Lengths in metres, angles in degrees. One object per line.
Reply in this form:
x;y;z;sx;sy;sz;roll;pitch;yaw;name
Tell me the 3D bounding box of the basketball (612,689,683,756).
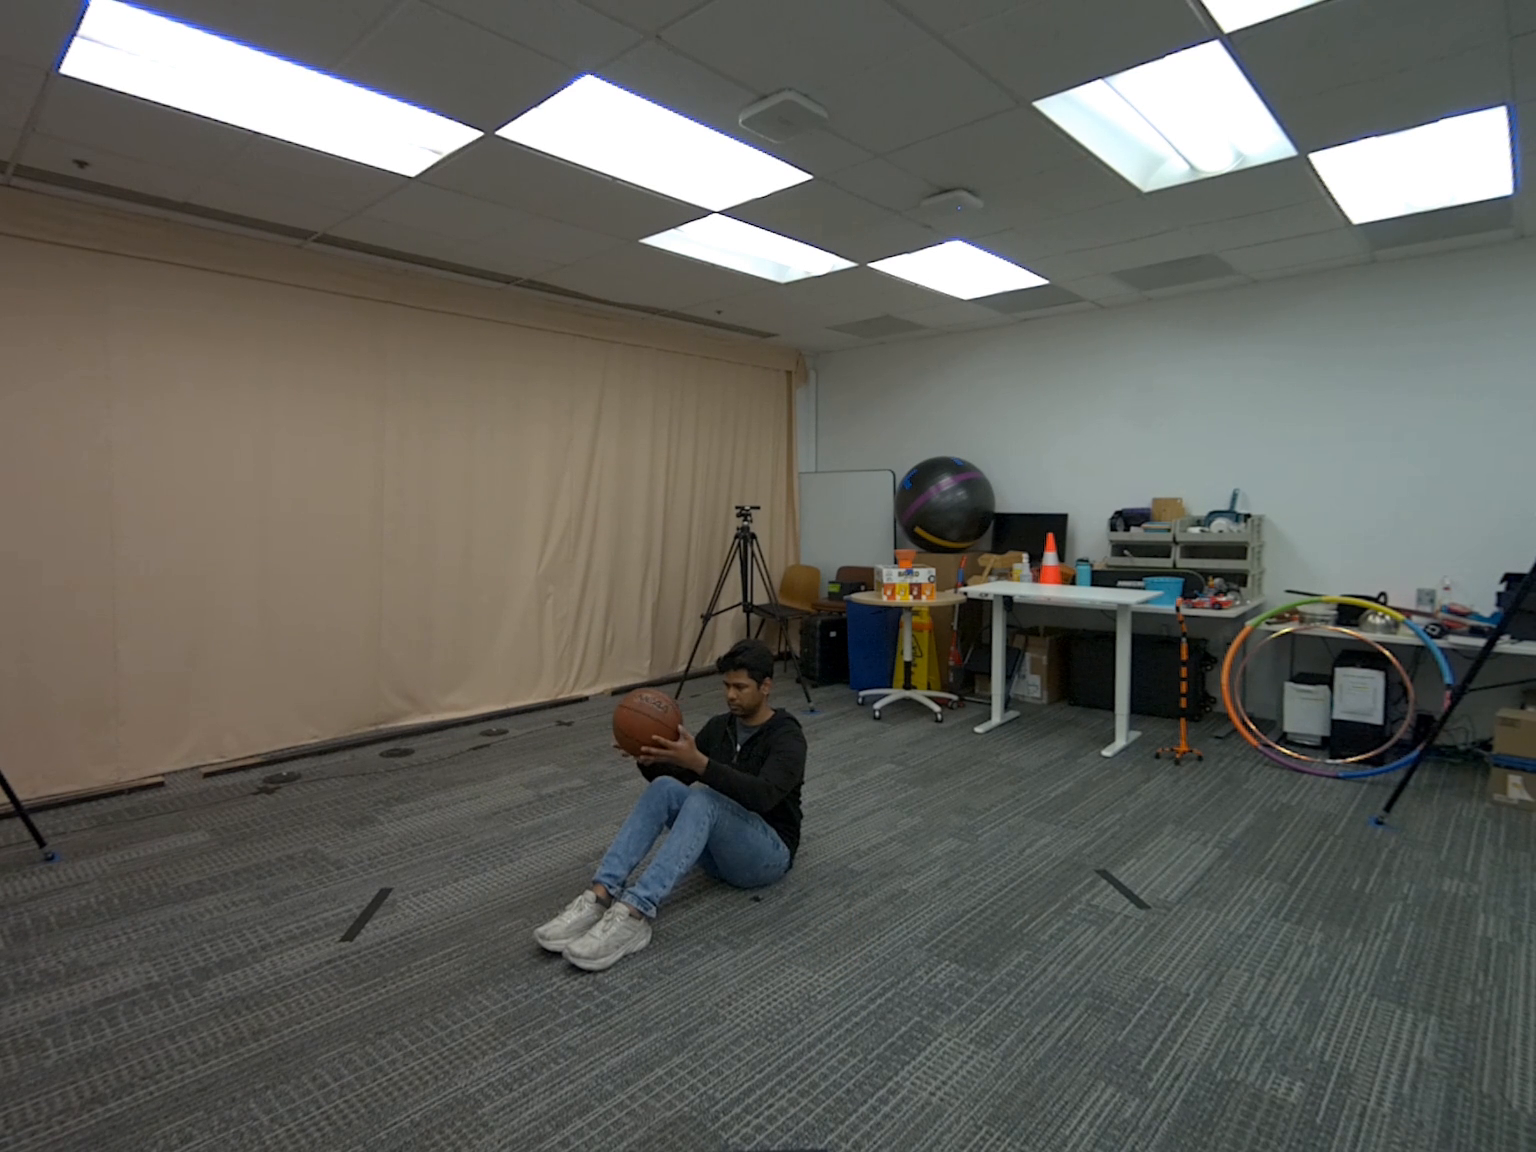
-0.404;0.521;2.865;0.236;0.235;0.237;0;4;-2;basketball
